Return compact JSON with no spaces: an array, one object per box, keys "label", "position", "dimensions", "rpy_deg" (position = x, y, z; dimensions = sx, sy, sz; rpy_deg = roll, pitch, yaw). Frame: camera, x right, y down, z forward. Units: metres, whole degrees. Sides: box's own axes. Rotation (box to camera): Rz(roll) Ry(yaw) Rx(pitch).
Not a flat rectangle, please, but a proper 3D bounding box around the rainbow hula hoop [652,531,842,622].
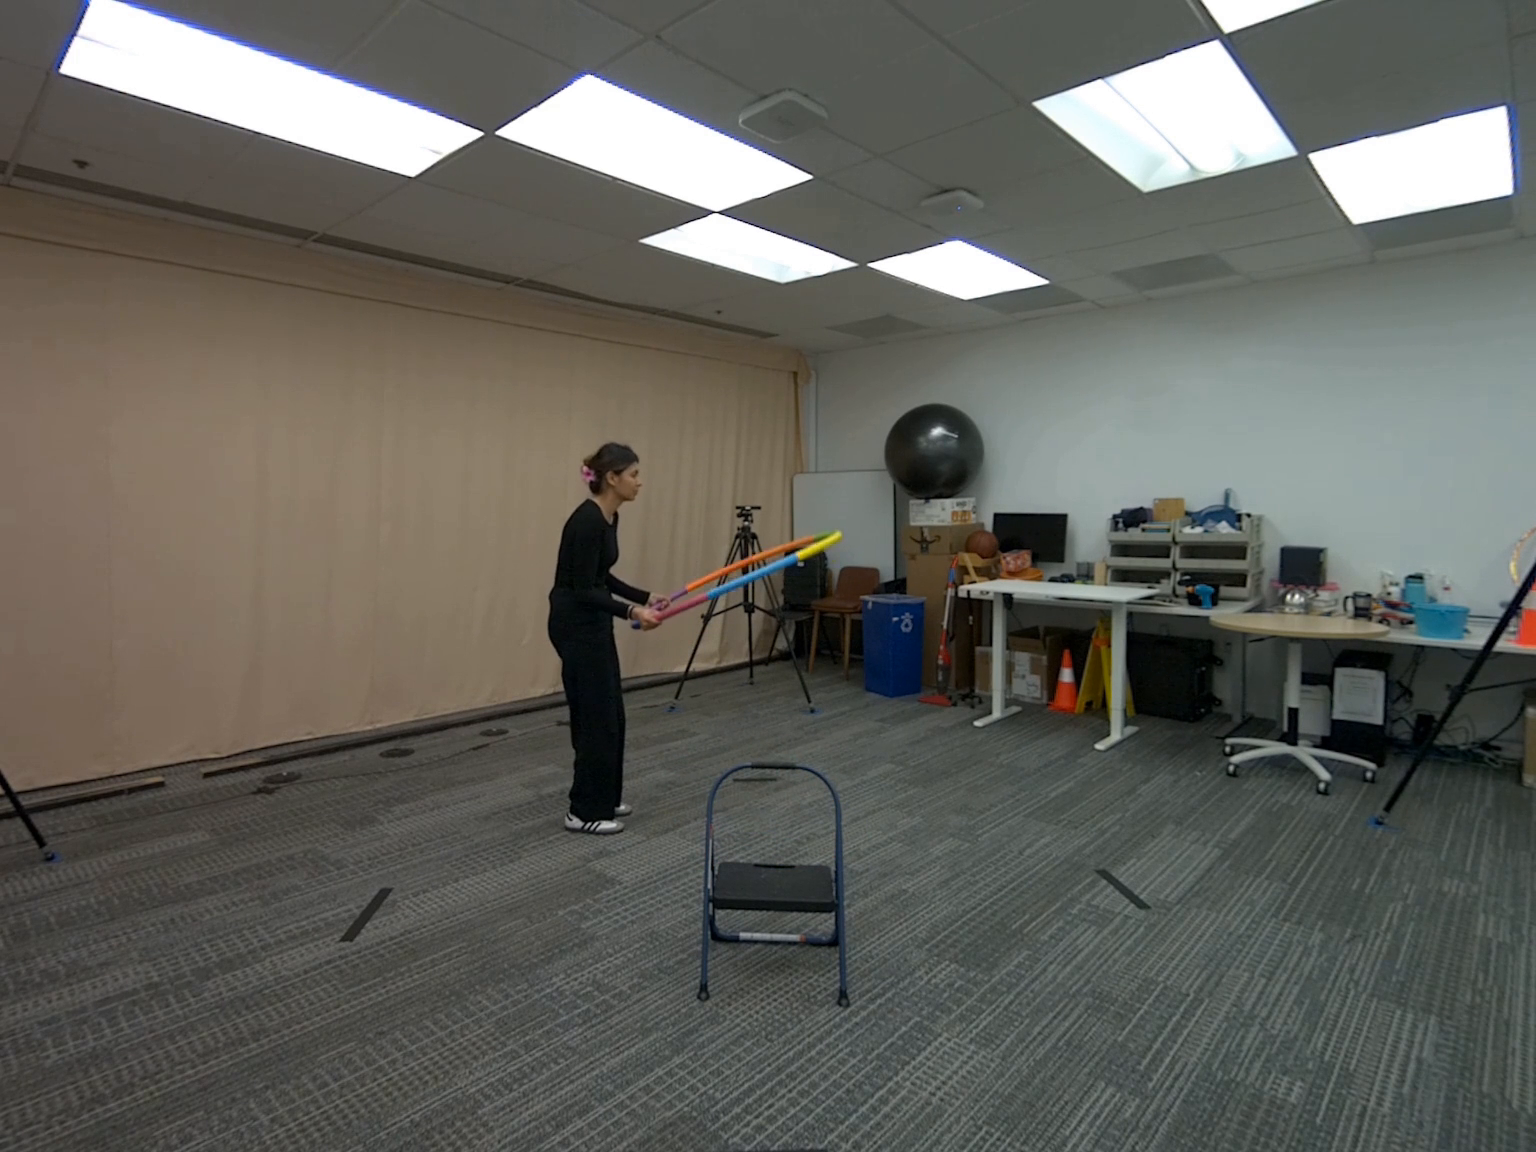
[{"label":"rainbow hula hoop","position":[-0.146,0.012,3.609],"dimensions":[0.979,0.035,0.982],"rpy_deg":[-23,5,-1]}]
